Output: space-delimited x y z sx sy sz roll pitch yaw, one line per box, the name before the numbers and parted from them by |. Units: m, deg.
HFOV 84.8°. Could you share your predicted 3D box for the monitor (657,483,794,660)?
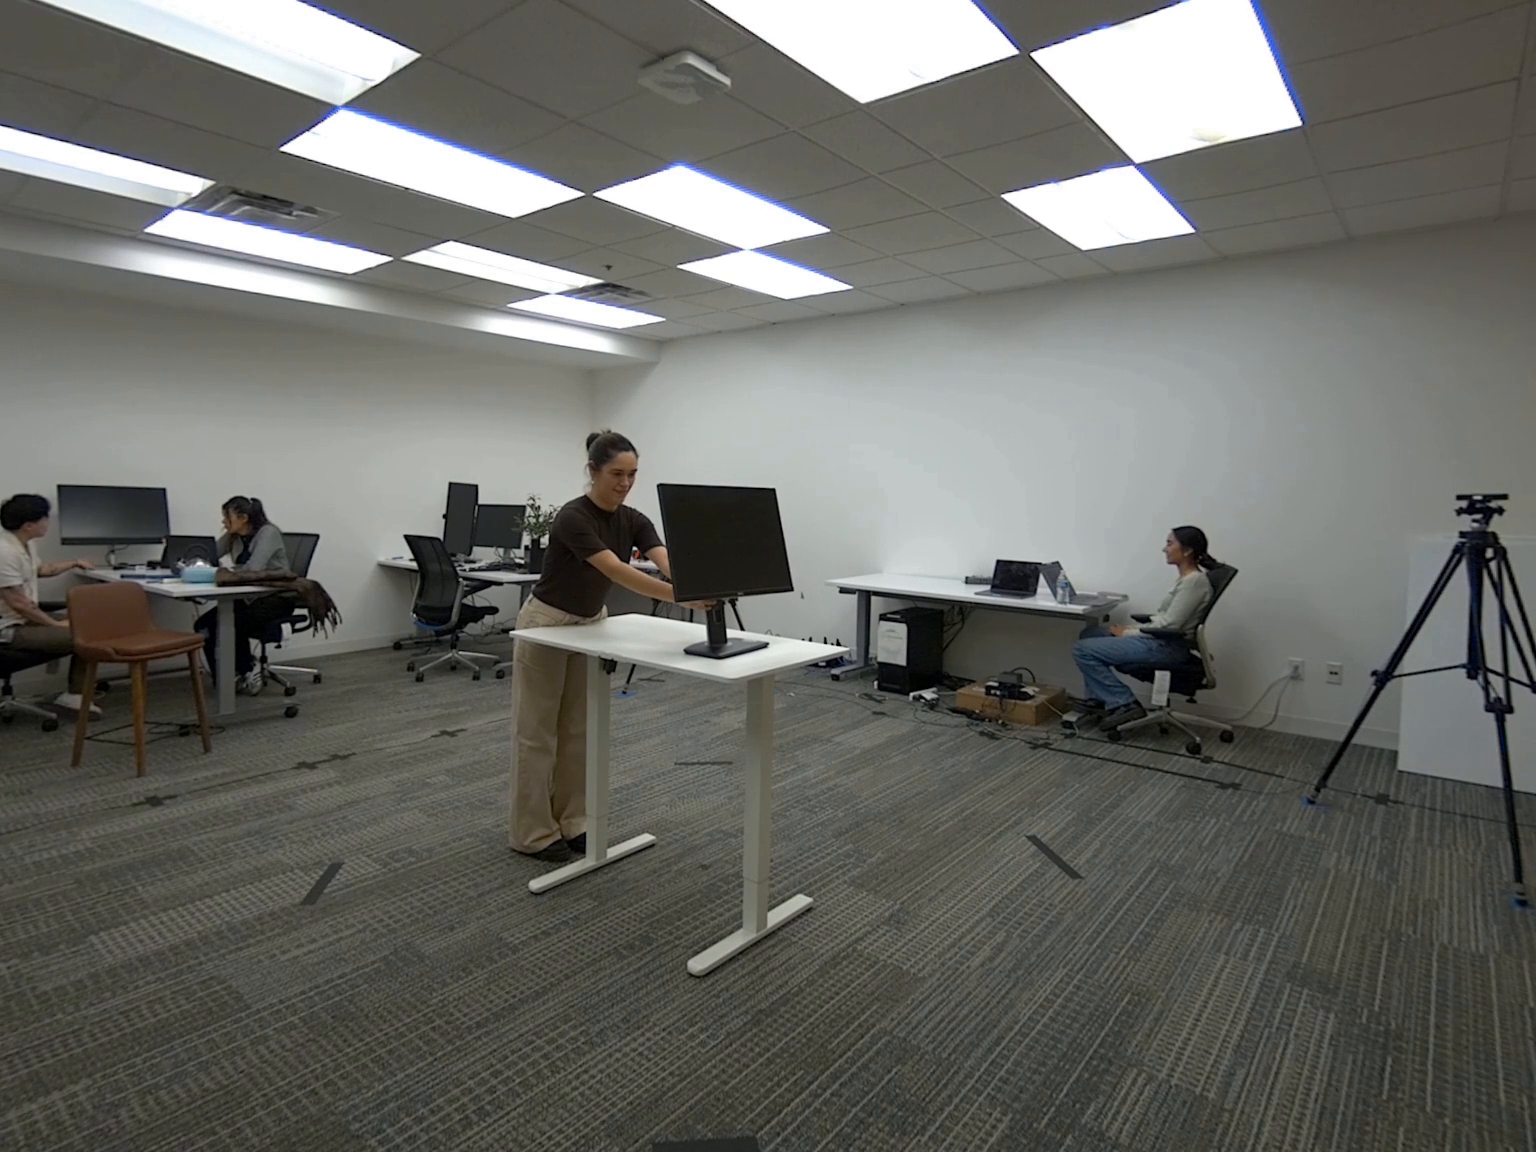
monitor | -0.147 -0.021 2.663 0.193 0.522 0.523 0 2 39
